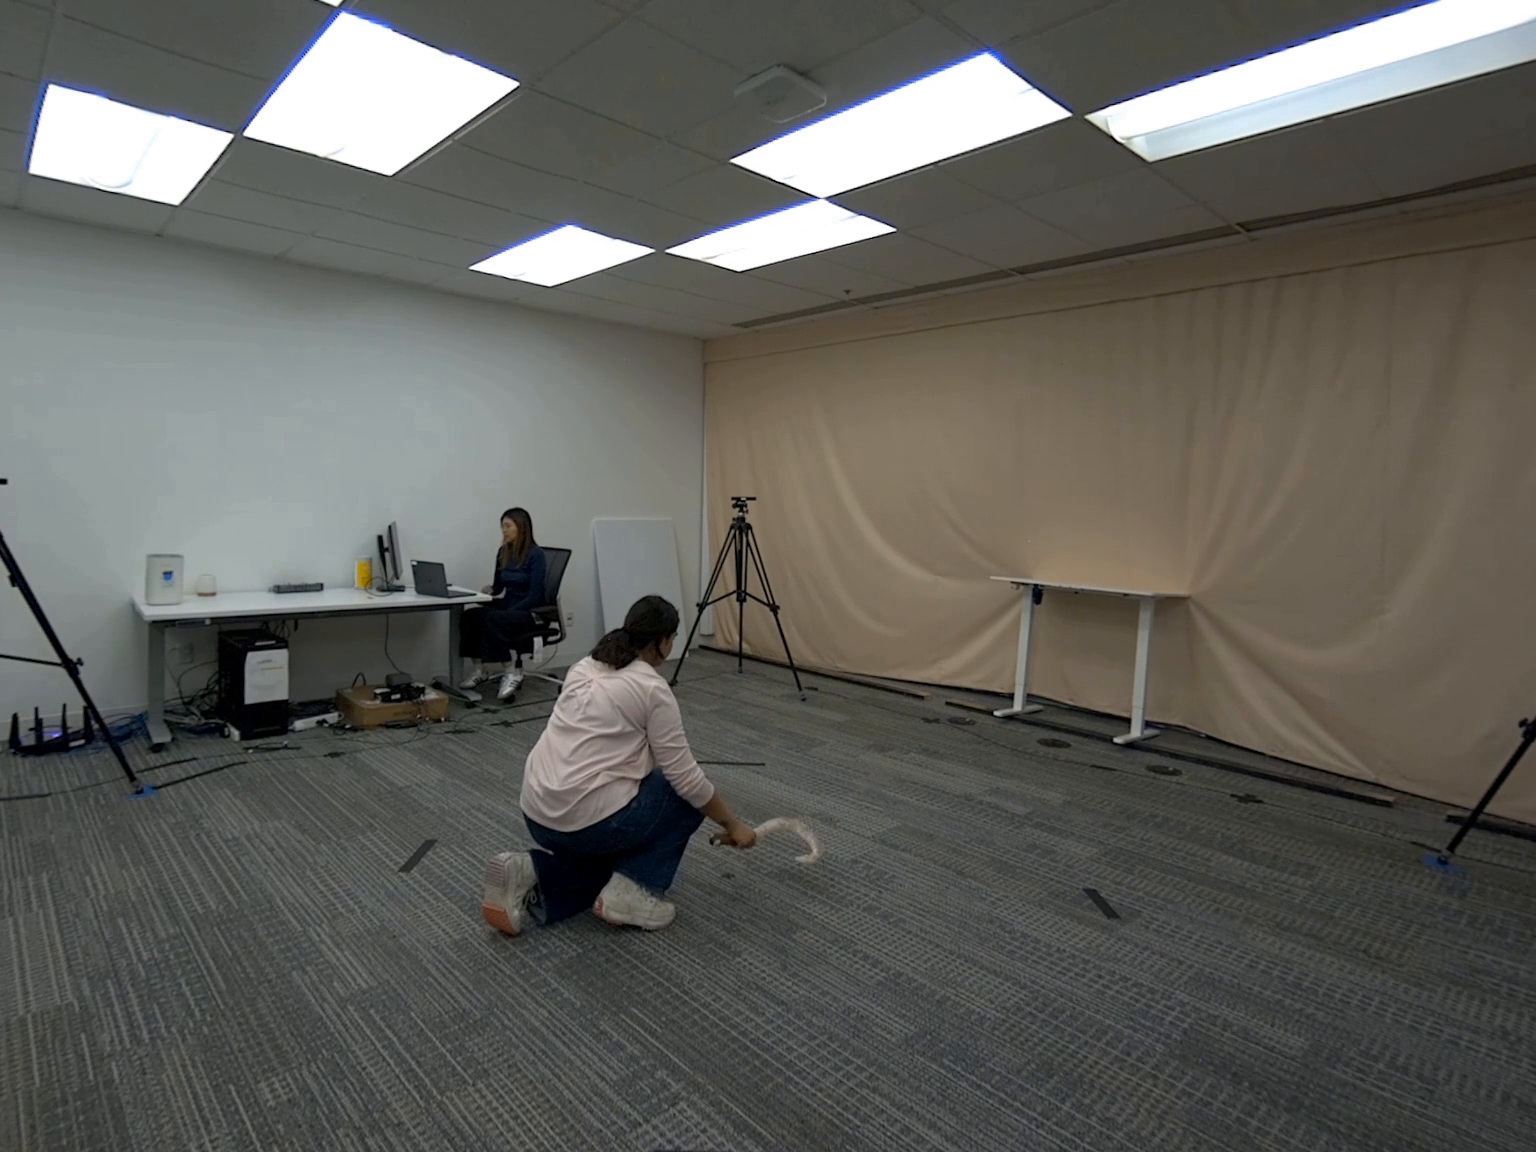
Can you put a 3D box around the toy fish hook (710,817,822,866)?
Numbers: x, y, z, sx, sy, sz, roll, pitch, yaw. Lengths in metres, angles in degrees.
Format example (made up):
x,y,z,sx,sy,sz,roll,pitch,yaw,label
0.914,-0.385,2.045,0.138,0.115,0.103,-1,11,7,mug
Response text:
x,y,z,sx,sy,sz,roll,pitch,yaw,label
0.012,0.946,2.968,0.493,0.048,0.232,8,19,-44,toy fish hook
